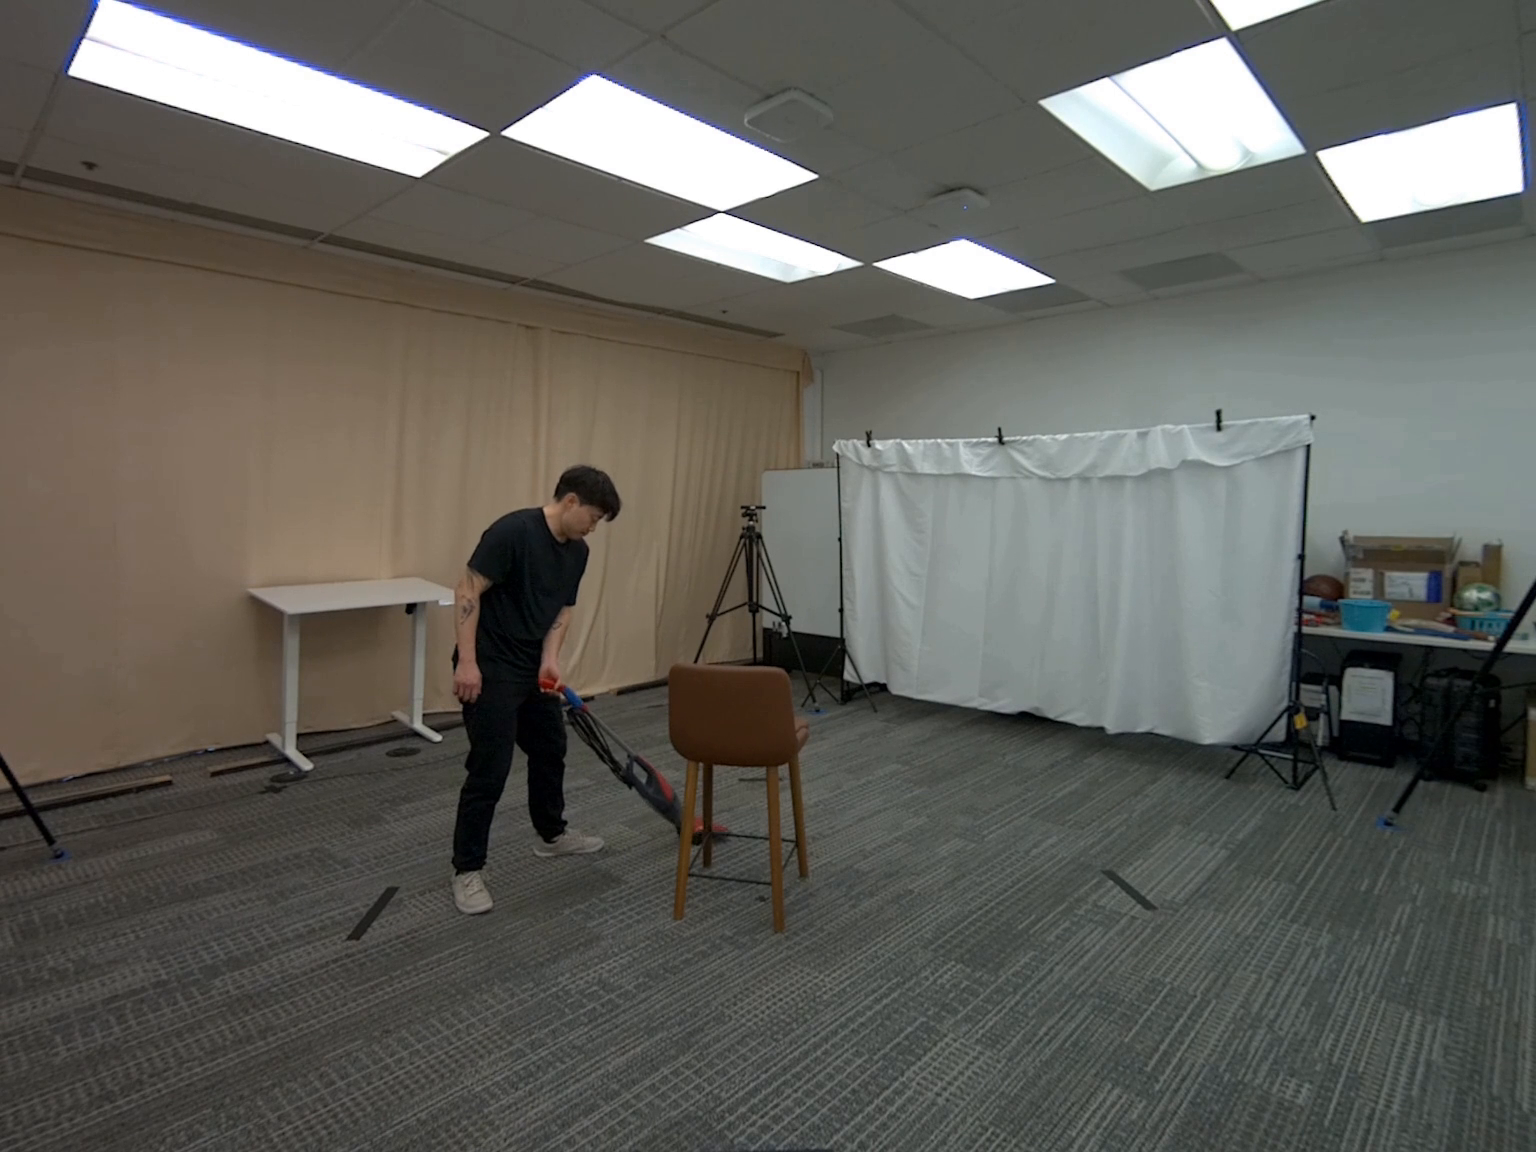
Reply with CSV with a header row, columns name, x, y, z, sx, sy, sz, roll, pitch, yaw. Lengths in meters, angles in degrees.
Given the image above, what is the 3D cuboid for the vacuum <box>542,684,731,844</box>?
name,x,y,z,sx,sy,sz,roll,pitch,yaw
vacuum,-0.564,0.735,3.287,0.260,0.144,1.017,-4,-44,44
